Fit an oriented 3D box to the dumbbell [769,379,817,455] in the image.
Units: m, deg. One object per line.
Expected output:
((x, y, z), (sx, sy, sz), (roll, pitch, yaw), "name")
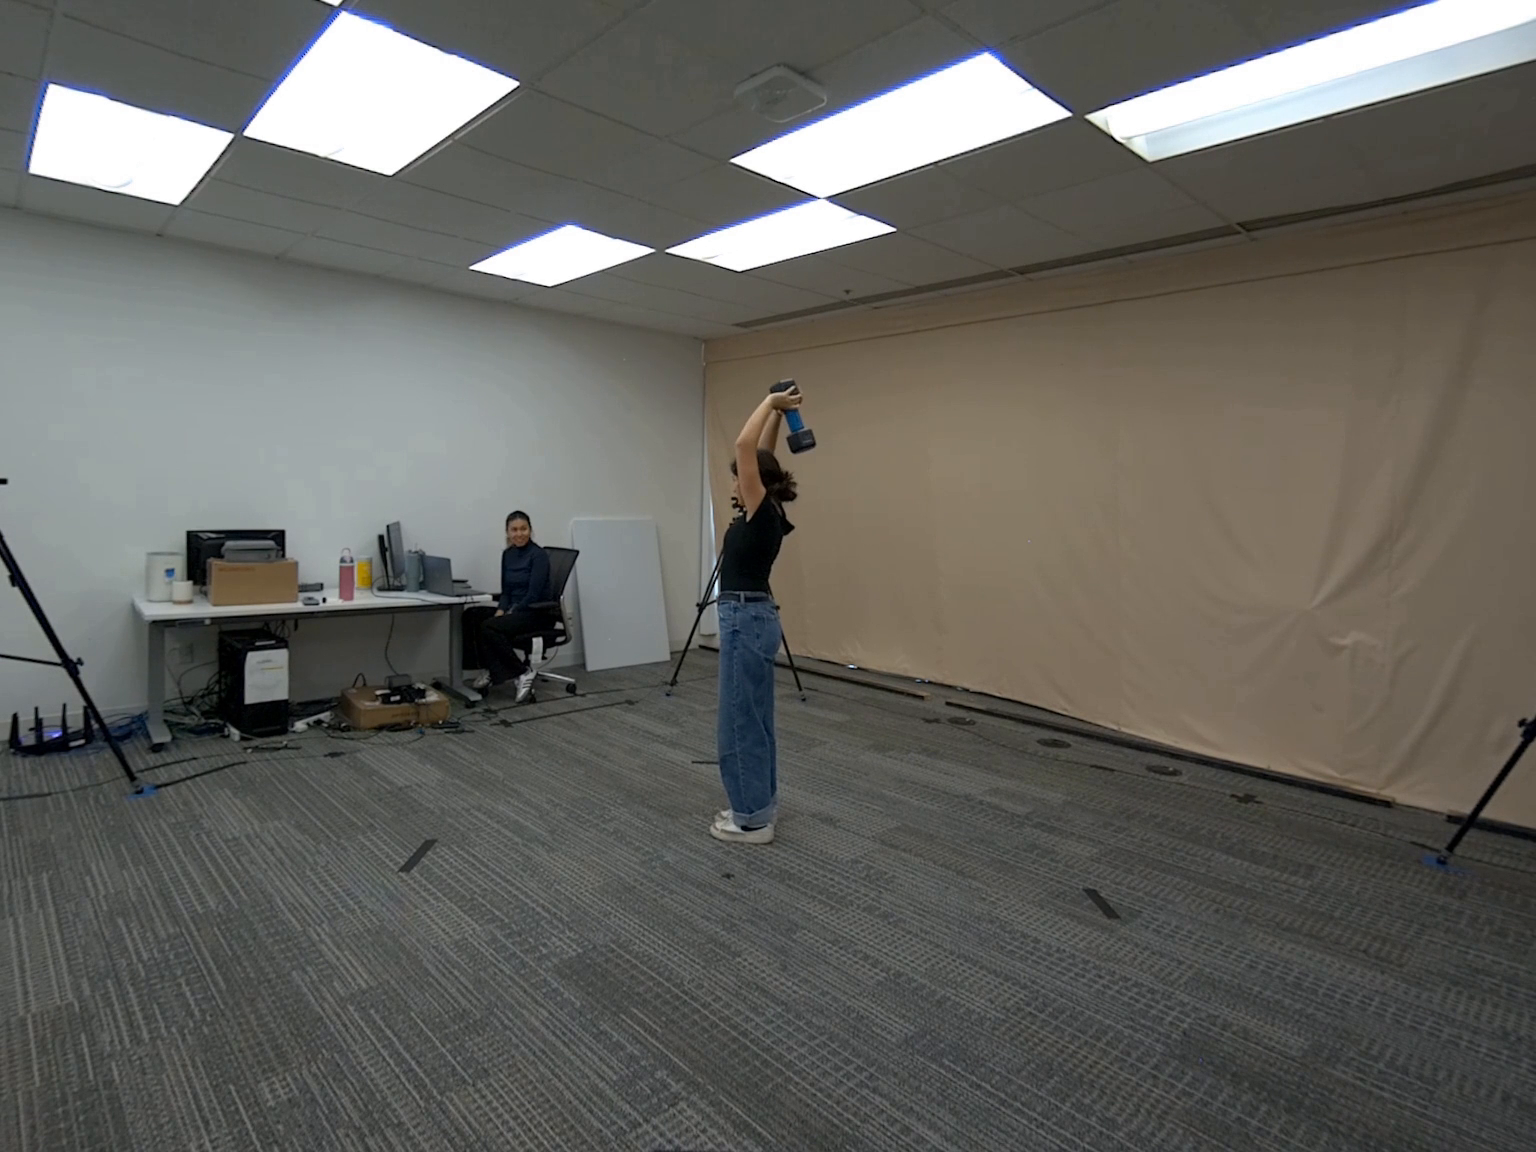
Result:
((0.098, -0.639, 3.416), (0.124, 0.295, 0.107), (-24, -7, 41), "dumbbell")
